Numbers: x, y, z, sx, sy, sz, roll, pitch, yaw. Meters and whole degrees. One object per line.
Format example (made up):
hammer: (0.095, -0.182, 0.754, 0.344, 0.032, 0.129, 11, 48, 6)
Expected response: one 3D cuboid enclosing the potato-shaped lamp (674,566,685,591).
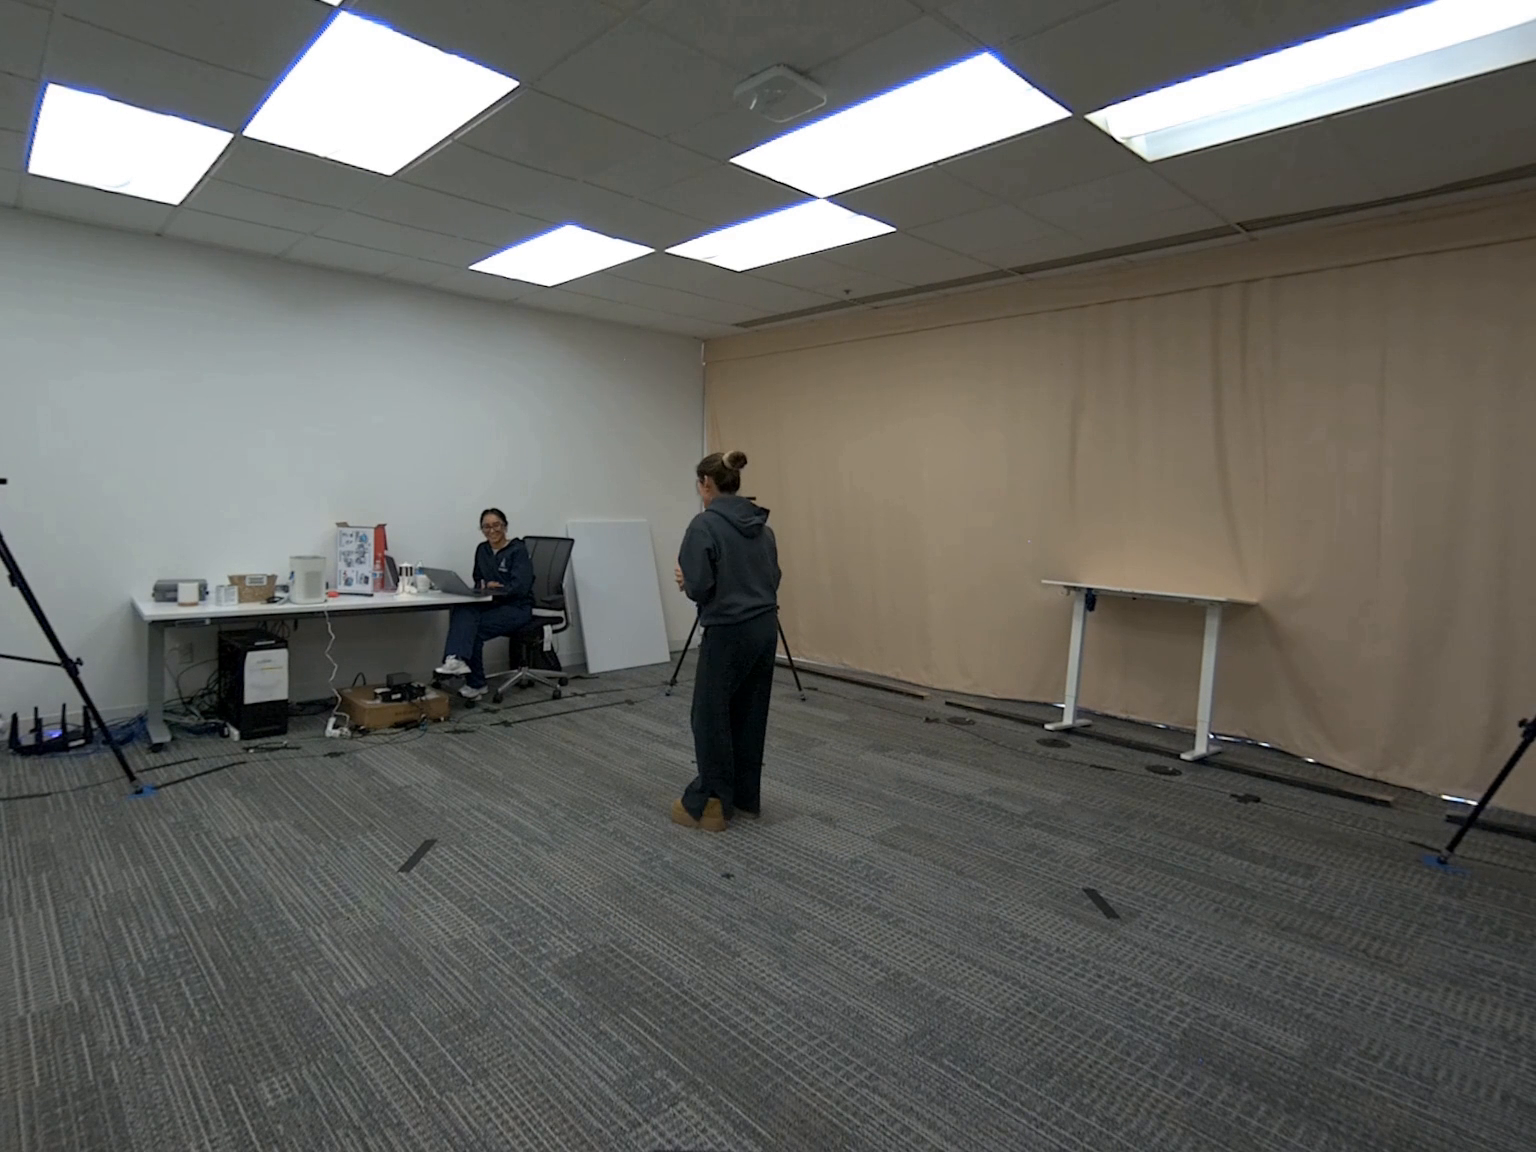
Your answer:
potato-shaped lamp: (-0.331, -0.029, 3.737, 0.161, 0.200, 0.173, -4, -17, -46)
